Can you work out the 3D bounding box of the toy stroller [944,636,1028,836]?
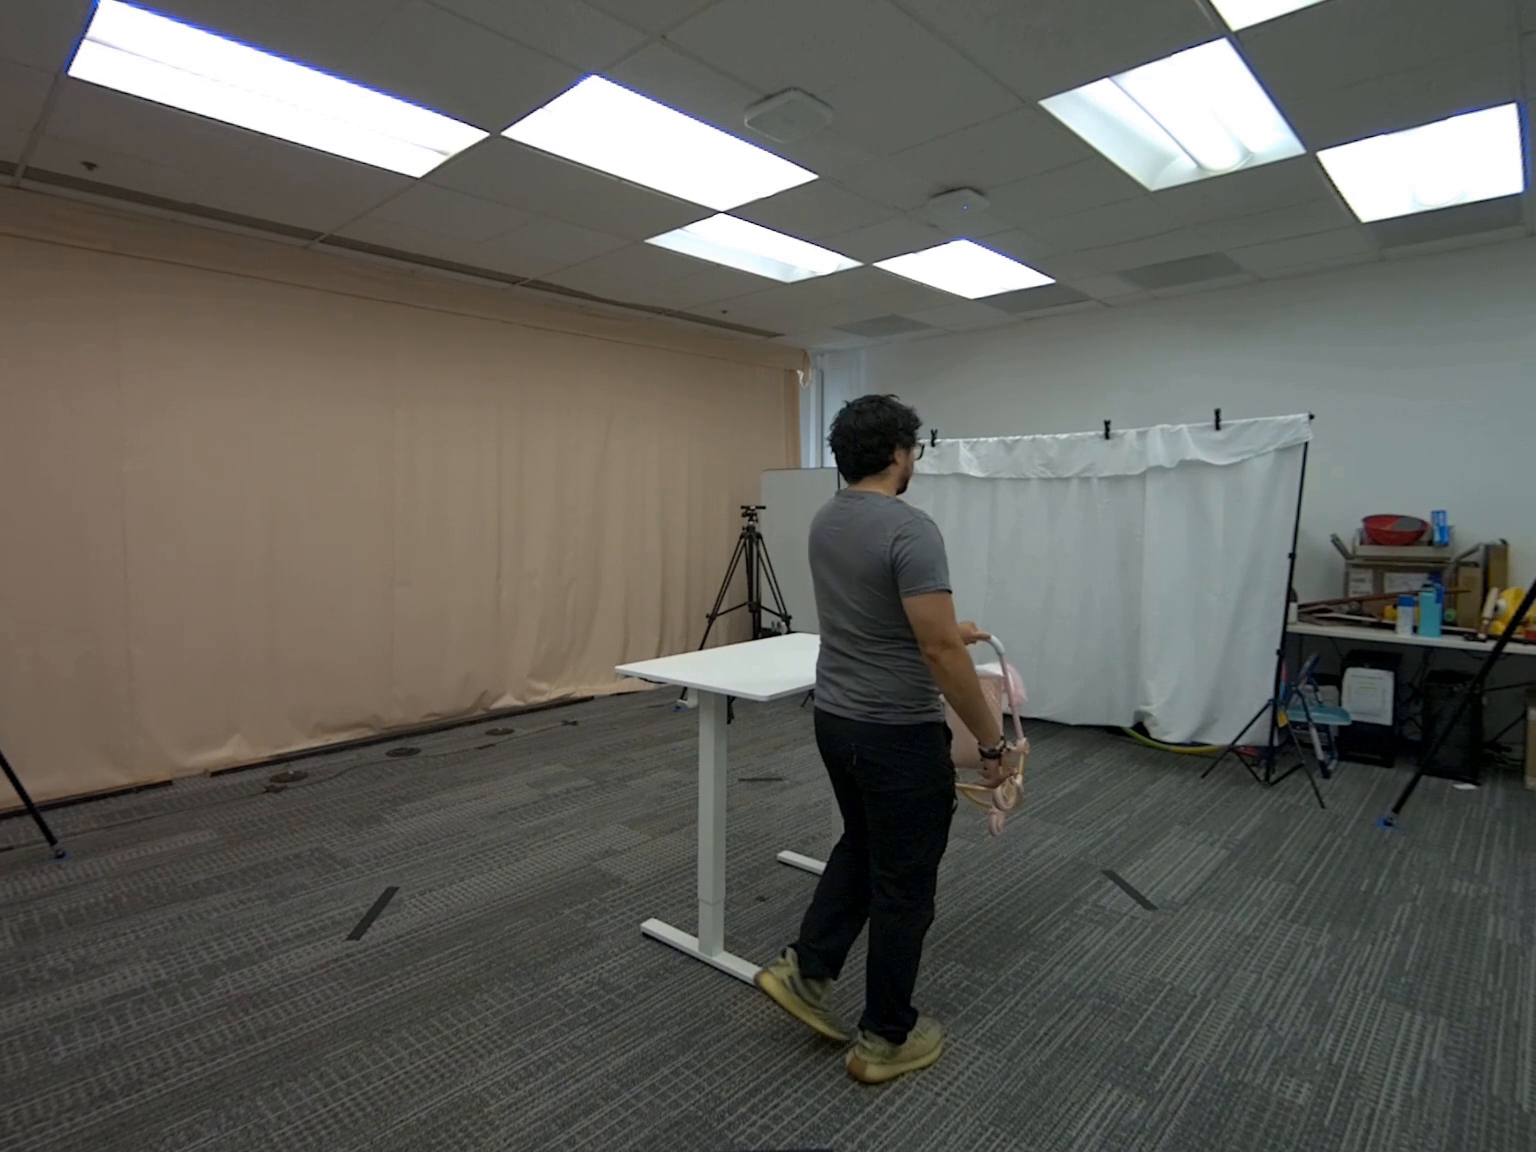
[{"bbox_3d":[0.637,0.472,2.468,0.290,0.539,0.329,-8,-25,43],"label":"toy stroller"}]
